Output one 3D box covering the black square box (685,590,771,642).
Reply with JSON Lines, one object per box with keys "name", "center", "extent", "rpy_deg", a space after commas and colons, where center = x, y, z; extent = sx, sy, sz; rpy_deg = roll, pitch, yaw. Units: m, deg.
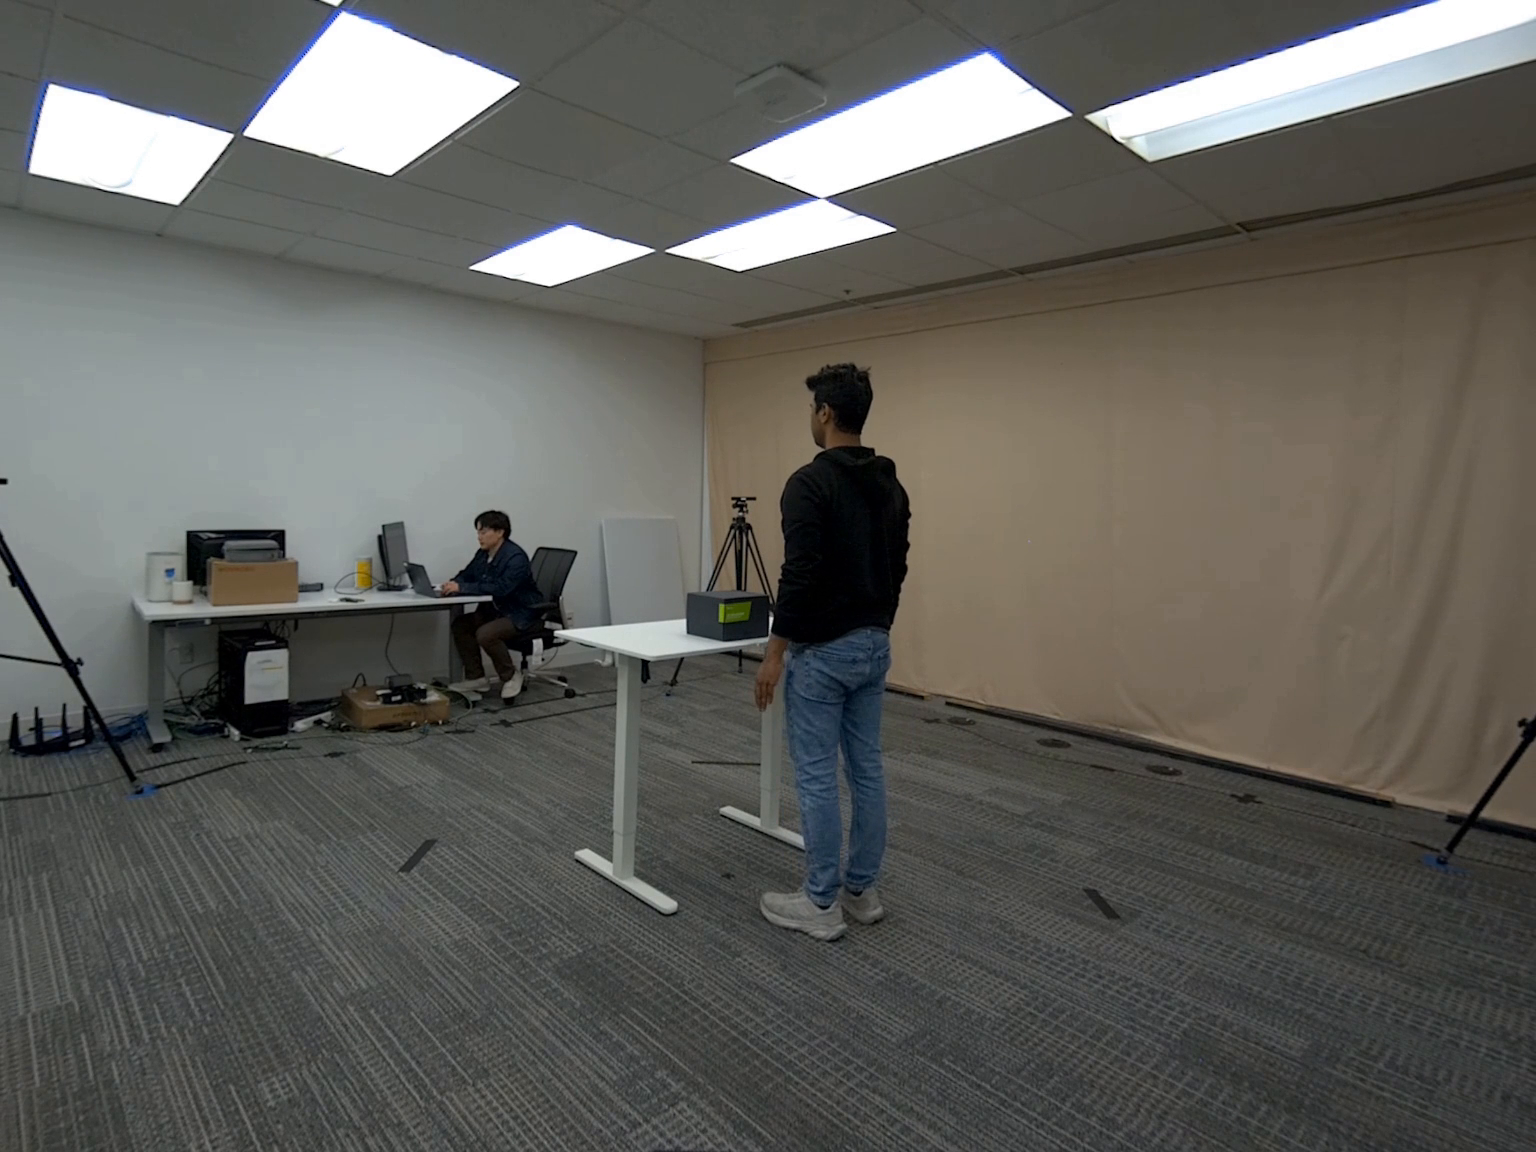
{"name": "black square box", "center": [-0.152, 0.142, 3.132], "extent": [0.222, 0.155, 0.222], "rpy_deg": [-2, 6, -43]}
